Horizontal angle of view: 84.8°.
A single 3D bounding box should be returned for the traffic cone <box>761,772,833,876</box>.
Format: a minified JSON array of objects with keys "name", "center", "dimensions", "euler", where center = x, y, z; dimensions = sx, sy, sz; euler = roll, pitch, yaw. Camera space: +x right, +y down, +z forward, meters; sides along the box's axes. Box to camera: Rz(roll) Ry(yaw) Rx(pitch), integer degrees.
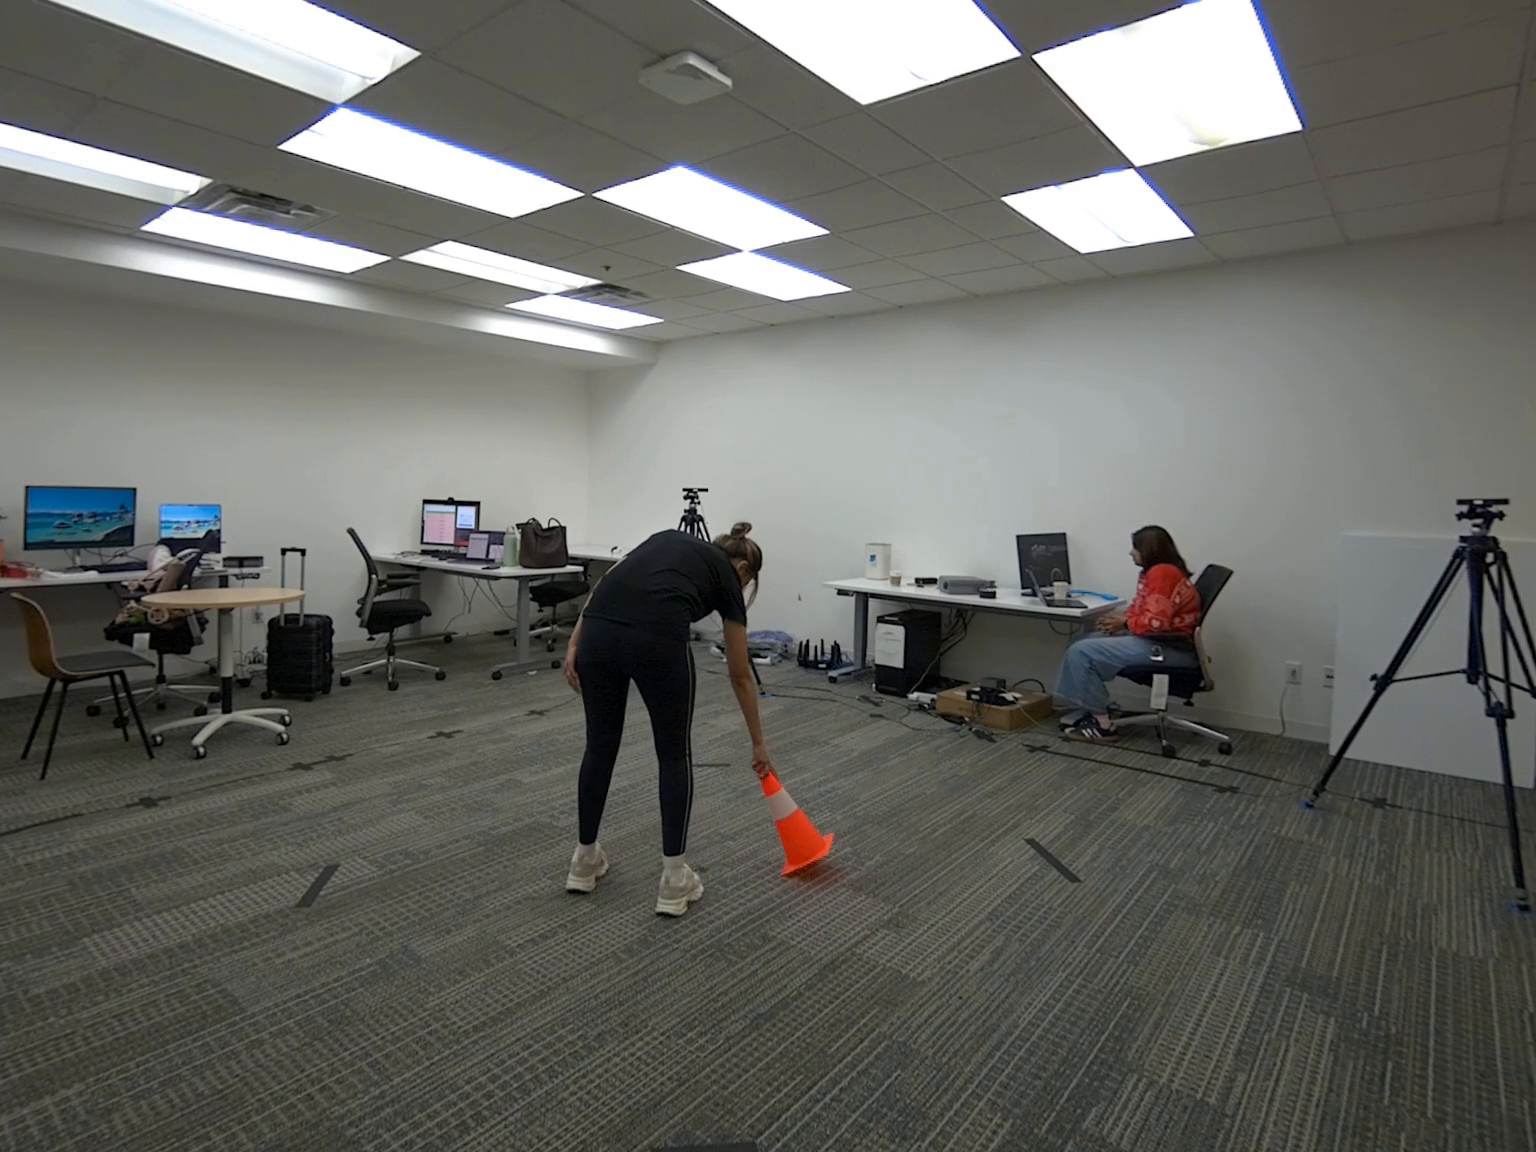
[{"name":"traffic cone","center":[0.041,0.865,3.159],"dimensions":[0.206,0.386,0.201],"euler":[-31,-4,13]}]
